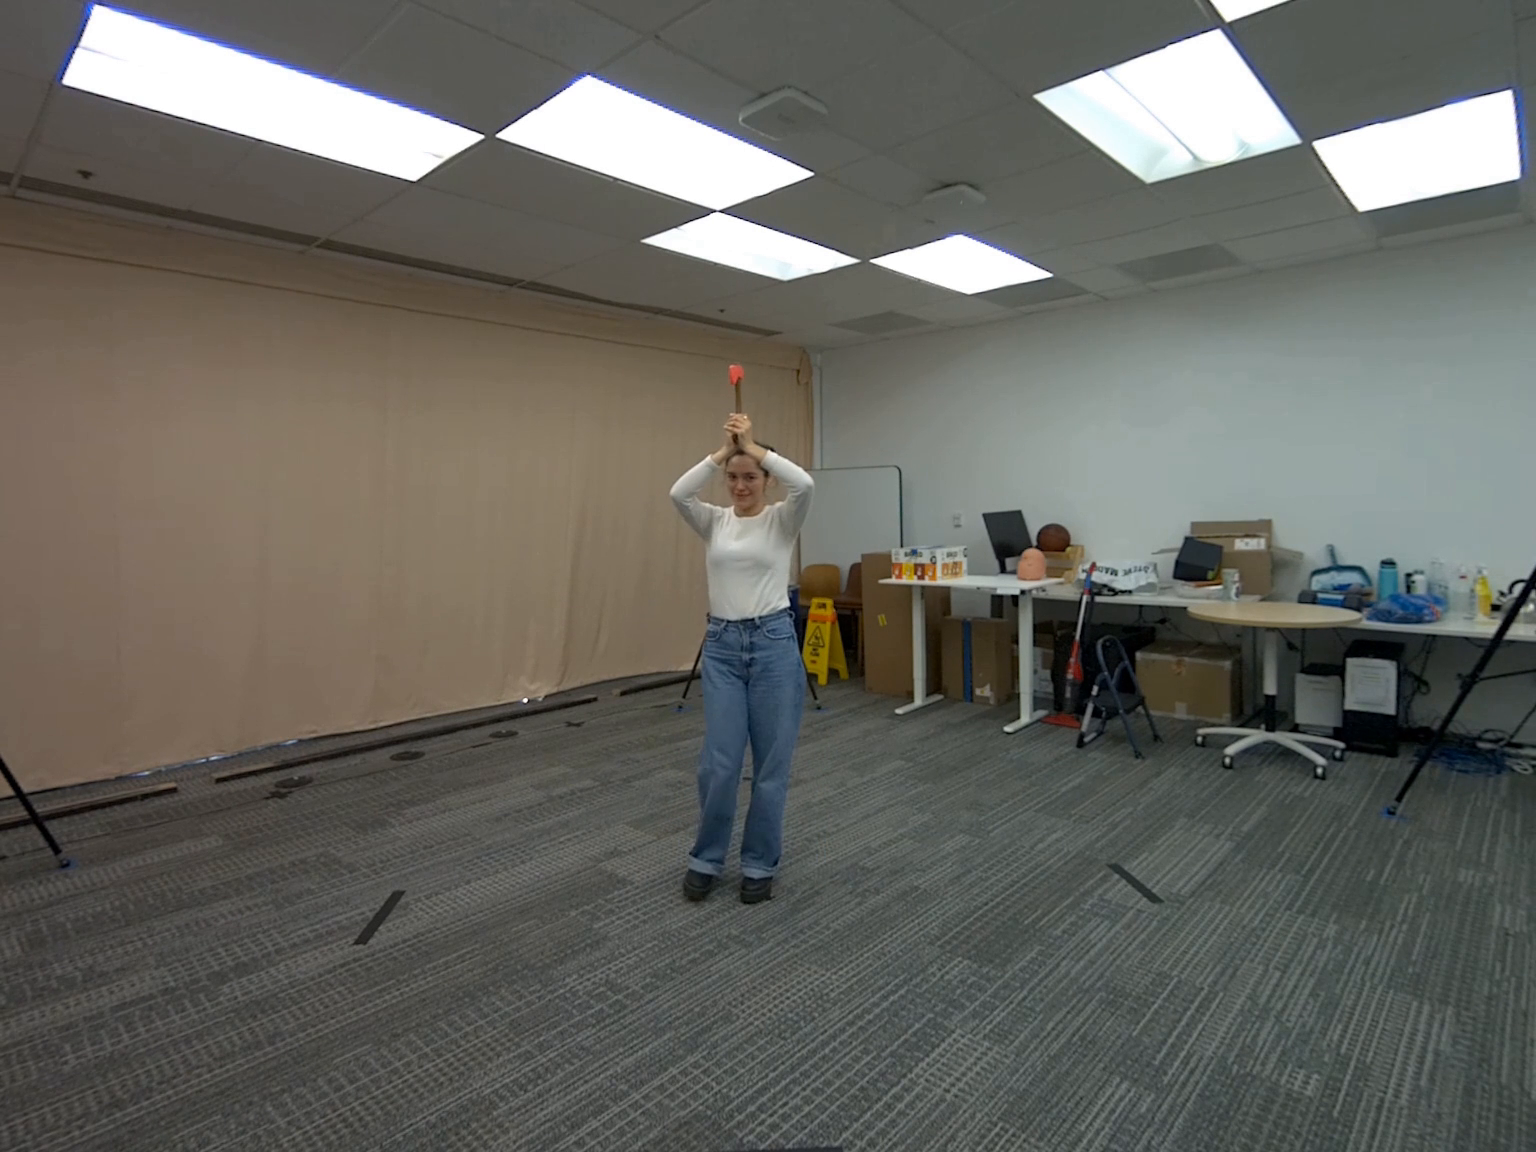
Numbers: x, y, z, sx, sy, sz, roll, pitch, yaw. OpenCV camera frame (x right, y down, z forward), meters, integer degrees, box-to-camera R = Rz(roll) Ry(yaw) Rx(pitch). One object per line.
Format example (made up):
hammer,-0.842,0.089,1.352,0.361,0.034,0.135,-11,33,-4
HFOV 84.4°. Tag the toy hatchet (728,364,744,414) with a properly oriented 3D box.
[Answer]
toy hatchet,-0.104,-0.594,2.830,0.030,0.273,0.127,-4,-17,14
